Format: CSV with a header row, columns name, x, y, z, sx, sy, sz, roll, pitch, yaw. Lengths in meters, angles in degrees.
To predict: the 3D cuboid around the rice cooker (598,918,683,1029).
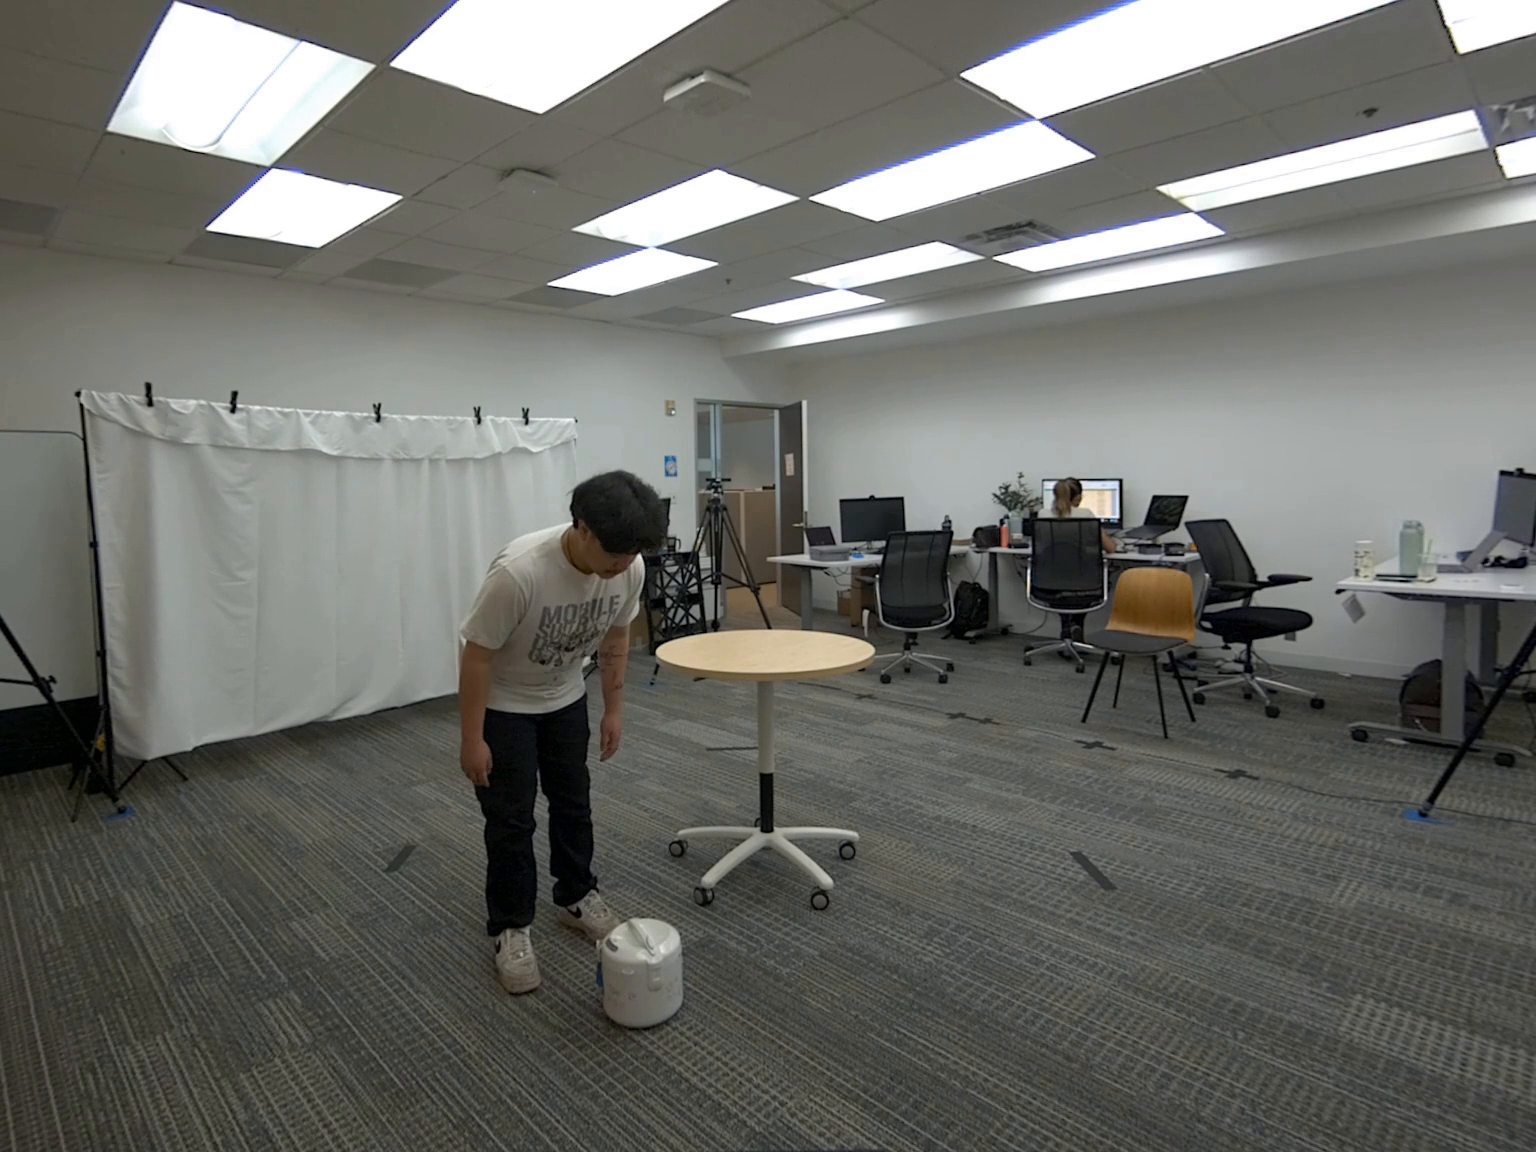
name,x,y,z,sx,sy,sz,roll,pitch,yaw
rice cooker,-0.323,1.035,2.255,0.213,0.232,0.226,-4,5,-25
